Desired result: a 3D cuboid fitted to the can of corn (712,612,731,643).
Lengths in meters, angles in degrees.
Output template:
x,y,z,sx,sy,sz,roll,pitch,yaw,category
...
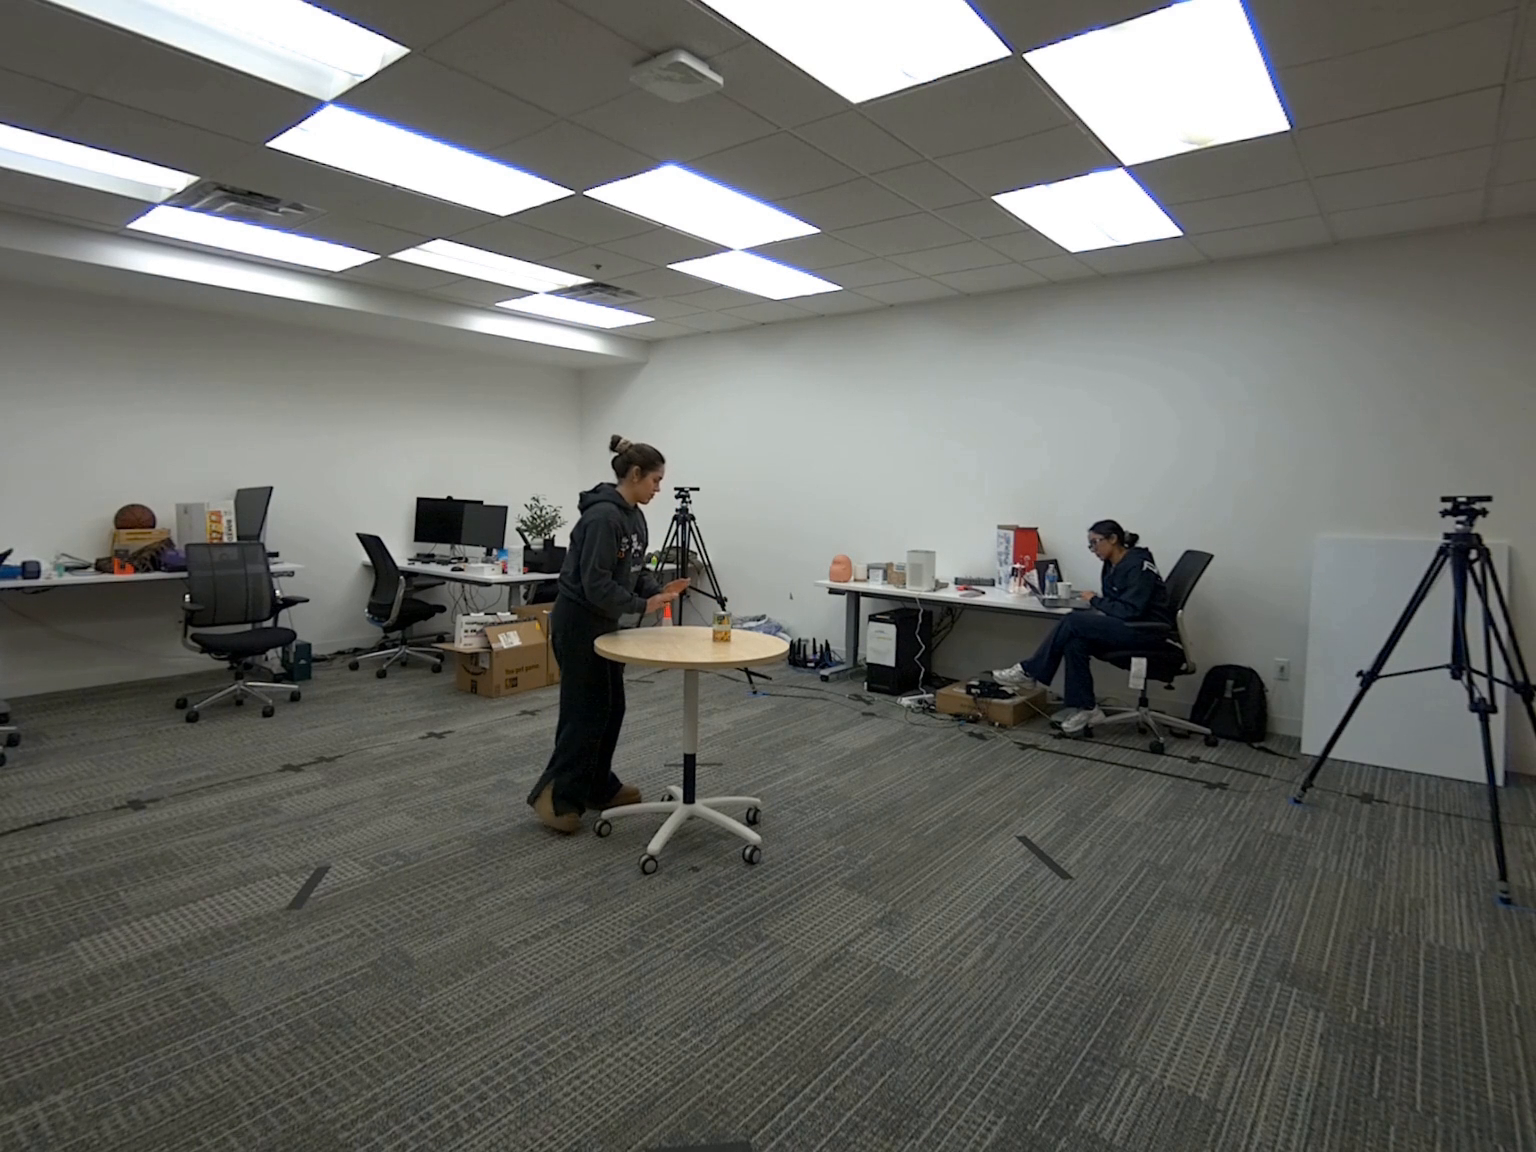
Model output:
x,y,z,sx,sy,sz,roll,pitch,yaw,category
-0.191,0.200,3.406,0.074,0.111,0.074,0,2,-2,can of corn
